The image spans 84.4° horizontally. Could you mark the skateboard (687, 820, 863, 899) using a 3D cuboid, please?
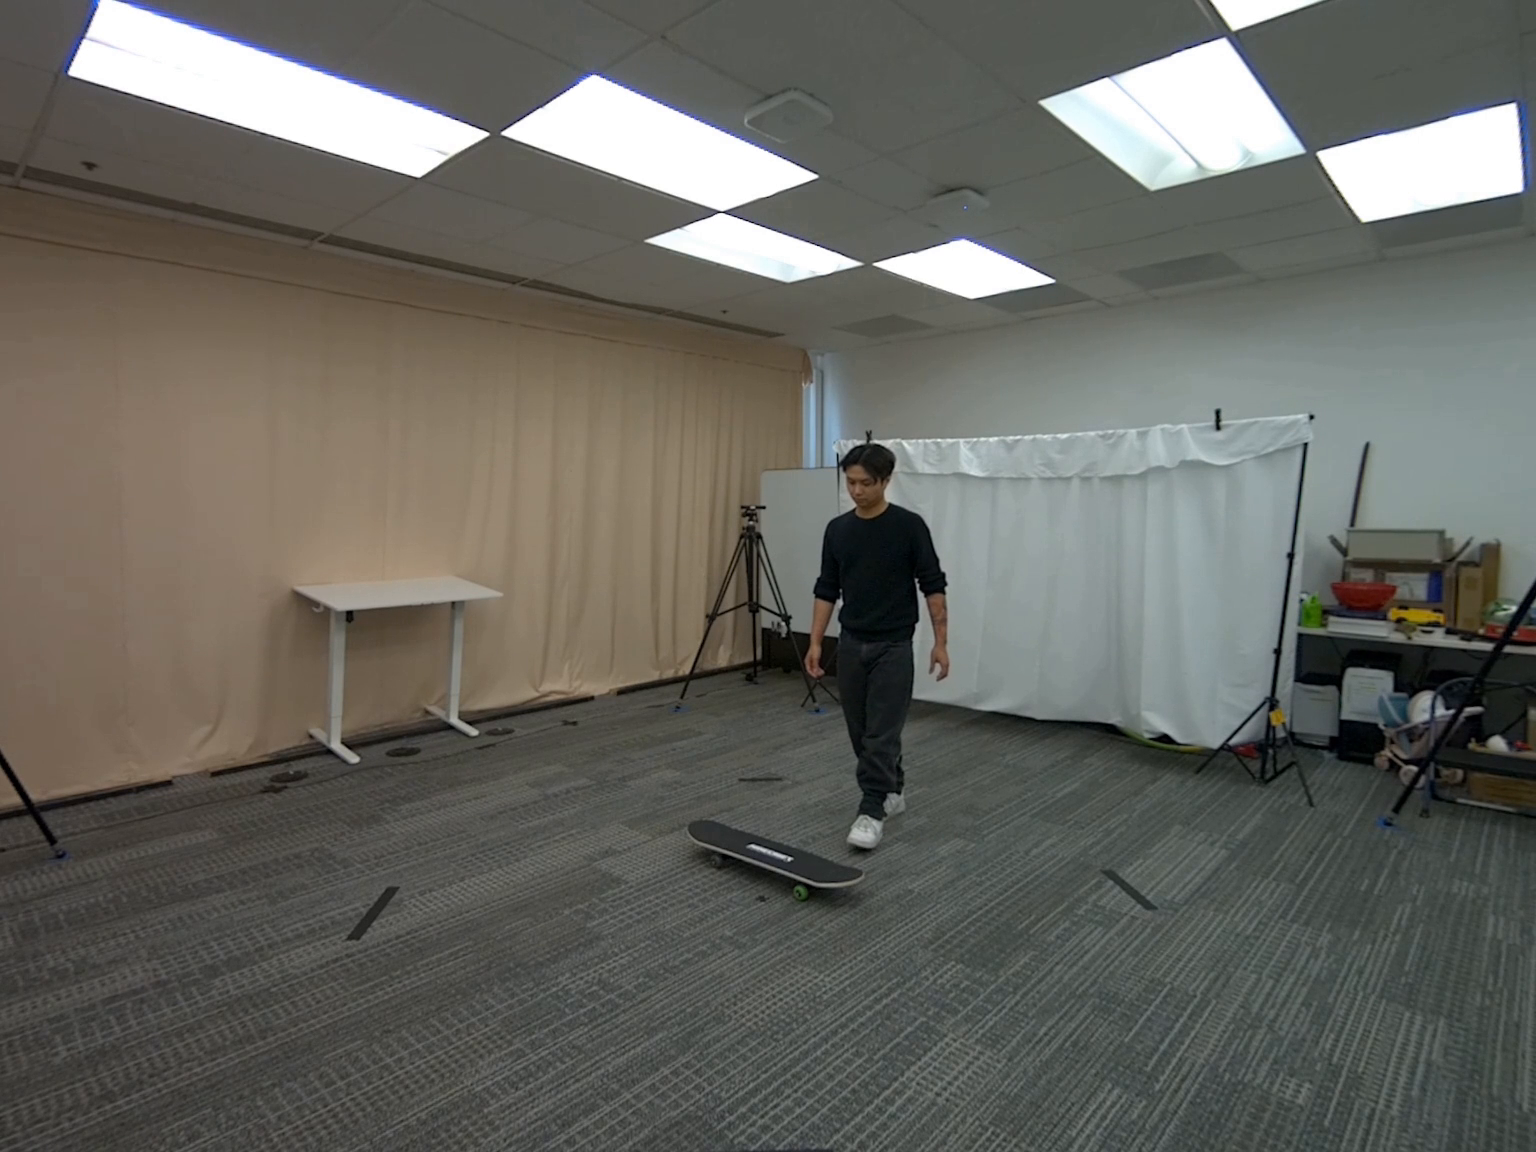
[{"bbox_3d":[0.013,1.067,3.163,0.811,0.110,0.188,3,6,40],"label":"skateboard"}]
